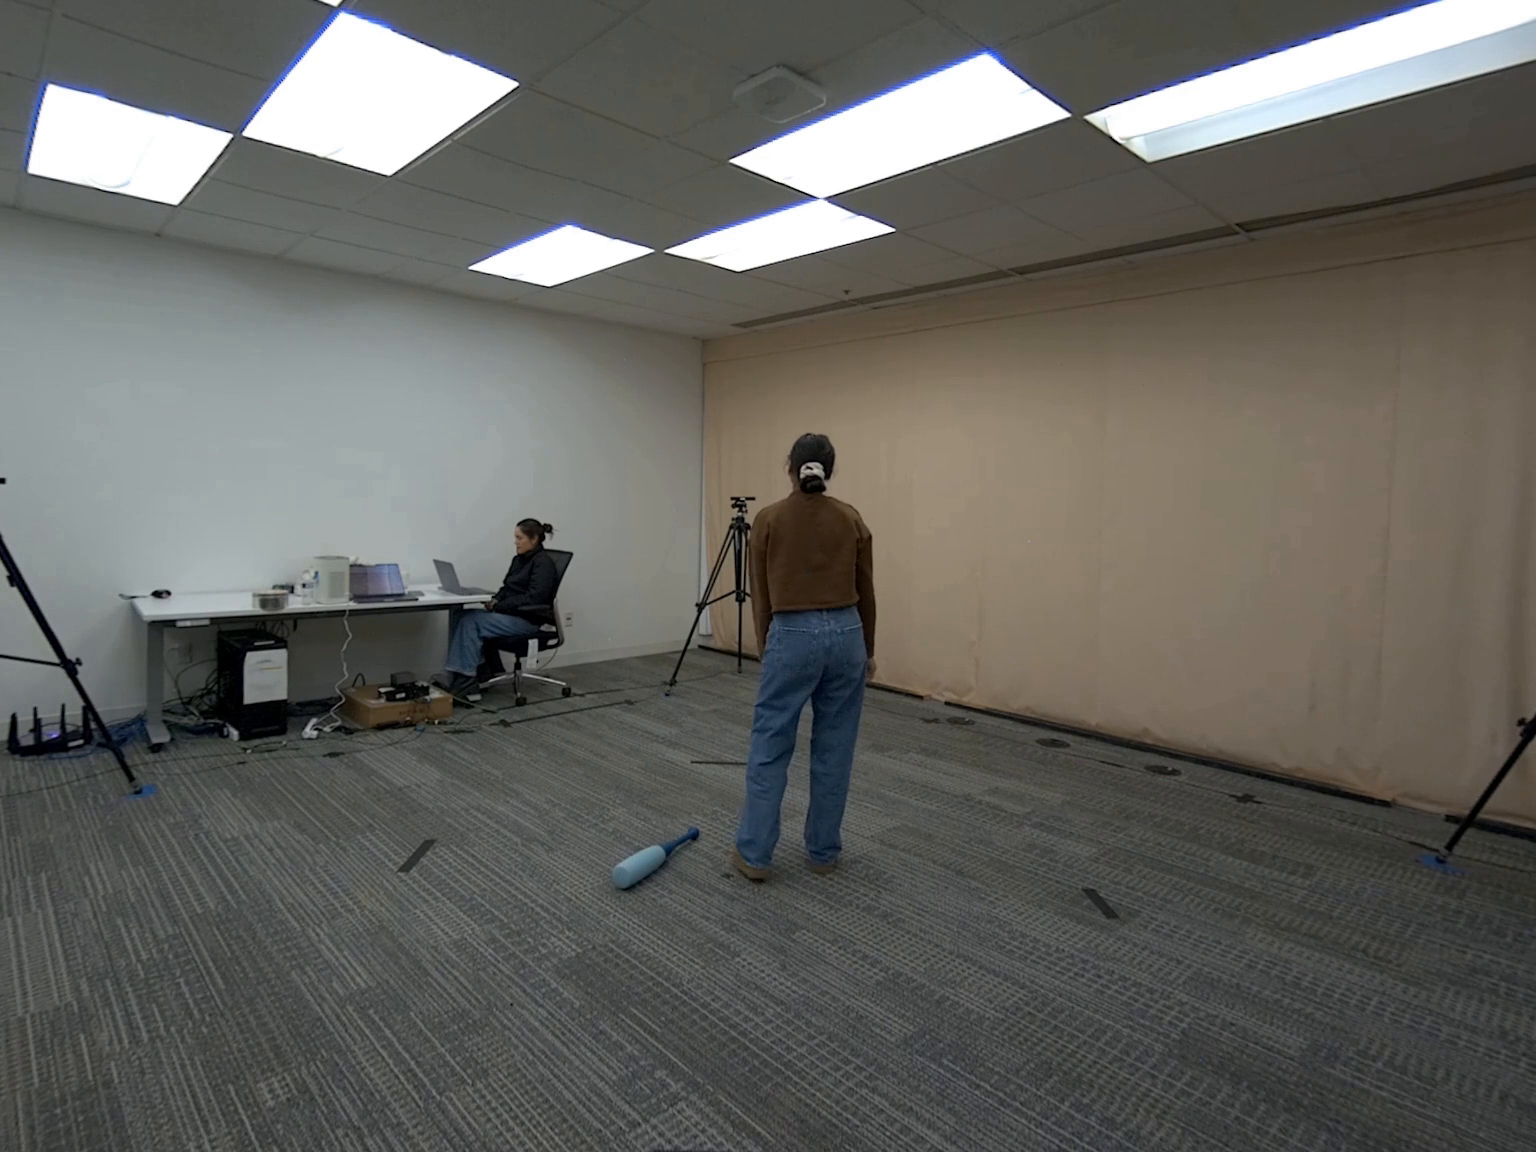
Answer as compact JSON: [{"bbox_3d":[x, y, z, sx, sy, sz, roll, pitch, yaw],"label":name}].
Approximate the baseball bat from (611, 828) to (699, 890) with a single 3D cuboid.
[{"bbox_3d":[-0.411,1.051,3.198,0.091,0.089,0.533,3,3,24],"label":"baseball bat"}]
